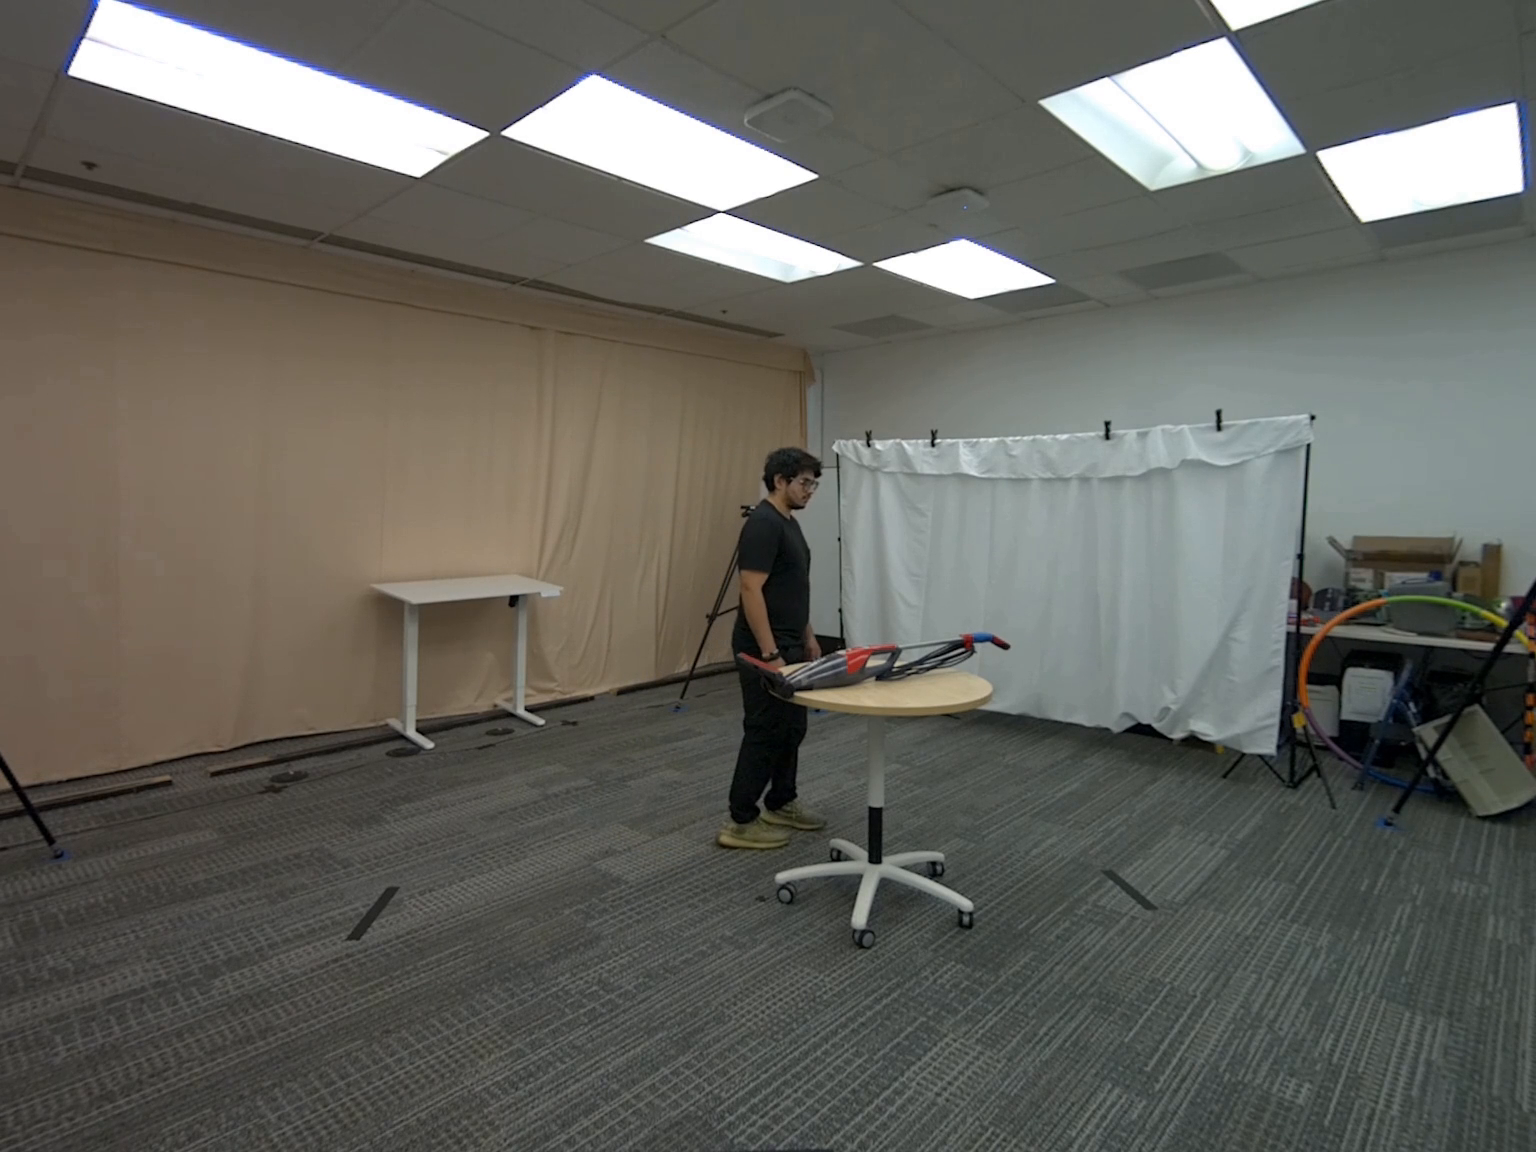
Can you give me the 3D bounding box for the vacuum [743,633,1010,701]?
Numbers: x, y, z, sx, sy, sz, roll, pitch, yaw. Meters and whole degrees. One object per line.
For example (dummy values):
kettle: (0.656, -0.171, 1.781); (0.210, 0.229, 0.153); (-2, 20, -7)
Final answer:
vacuum: (0.461, 0.305, 2.959); (1.023, 0.143, 0.261); (-5, 12, -29)
